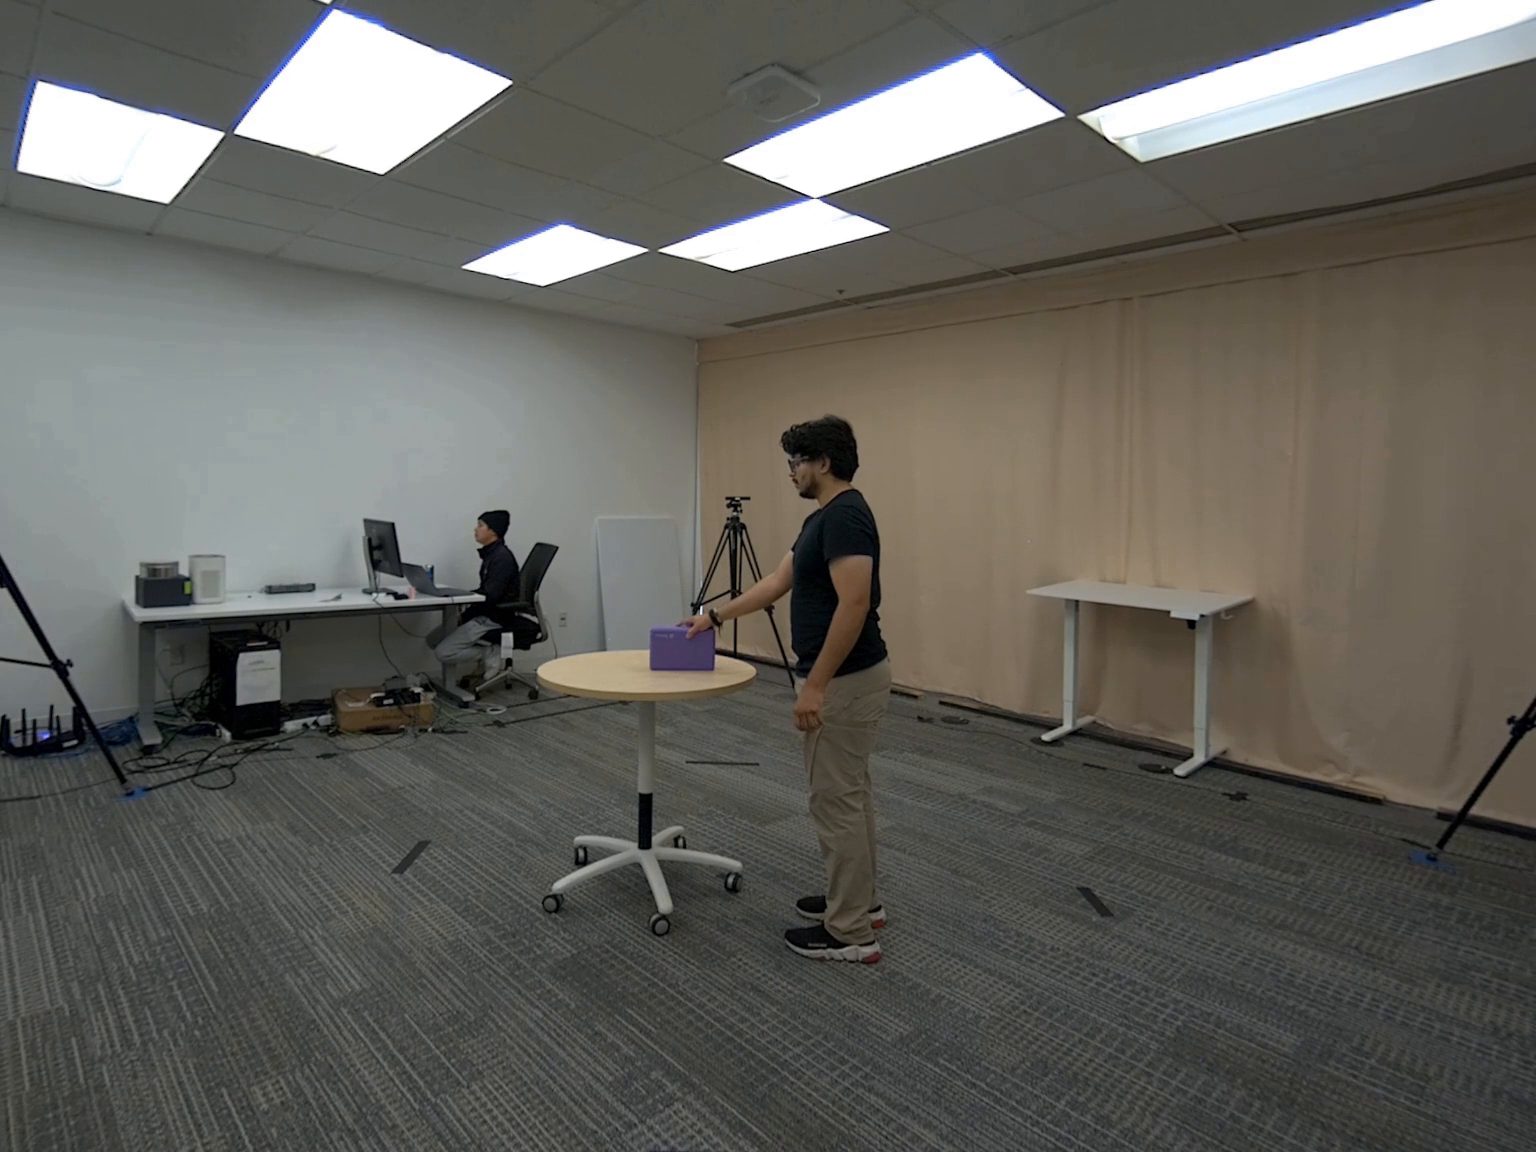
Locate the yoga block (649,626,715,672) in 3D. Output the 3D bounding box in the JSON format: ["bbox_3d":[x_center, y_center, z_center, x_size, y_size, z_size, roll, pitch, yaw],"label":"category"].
[{"bbox_3d":[-0.309,0.254,2.976,0.229,0.149,0.076,3,0,-2],"label":"yoga block"}]
